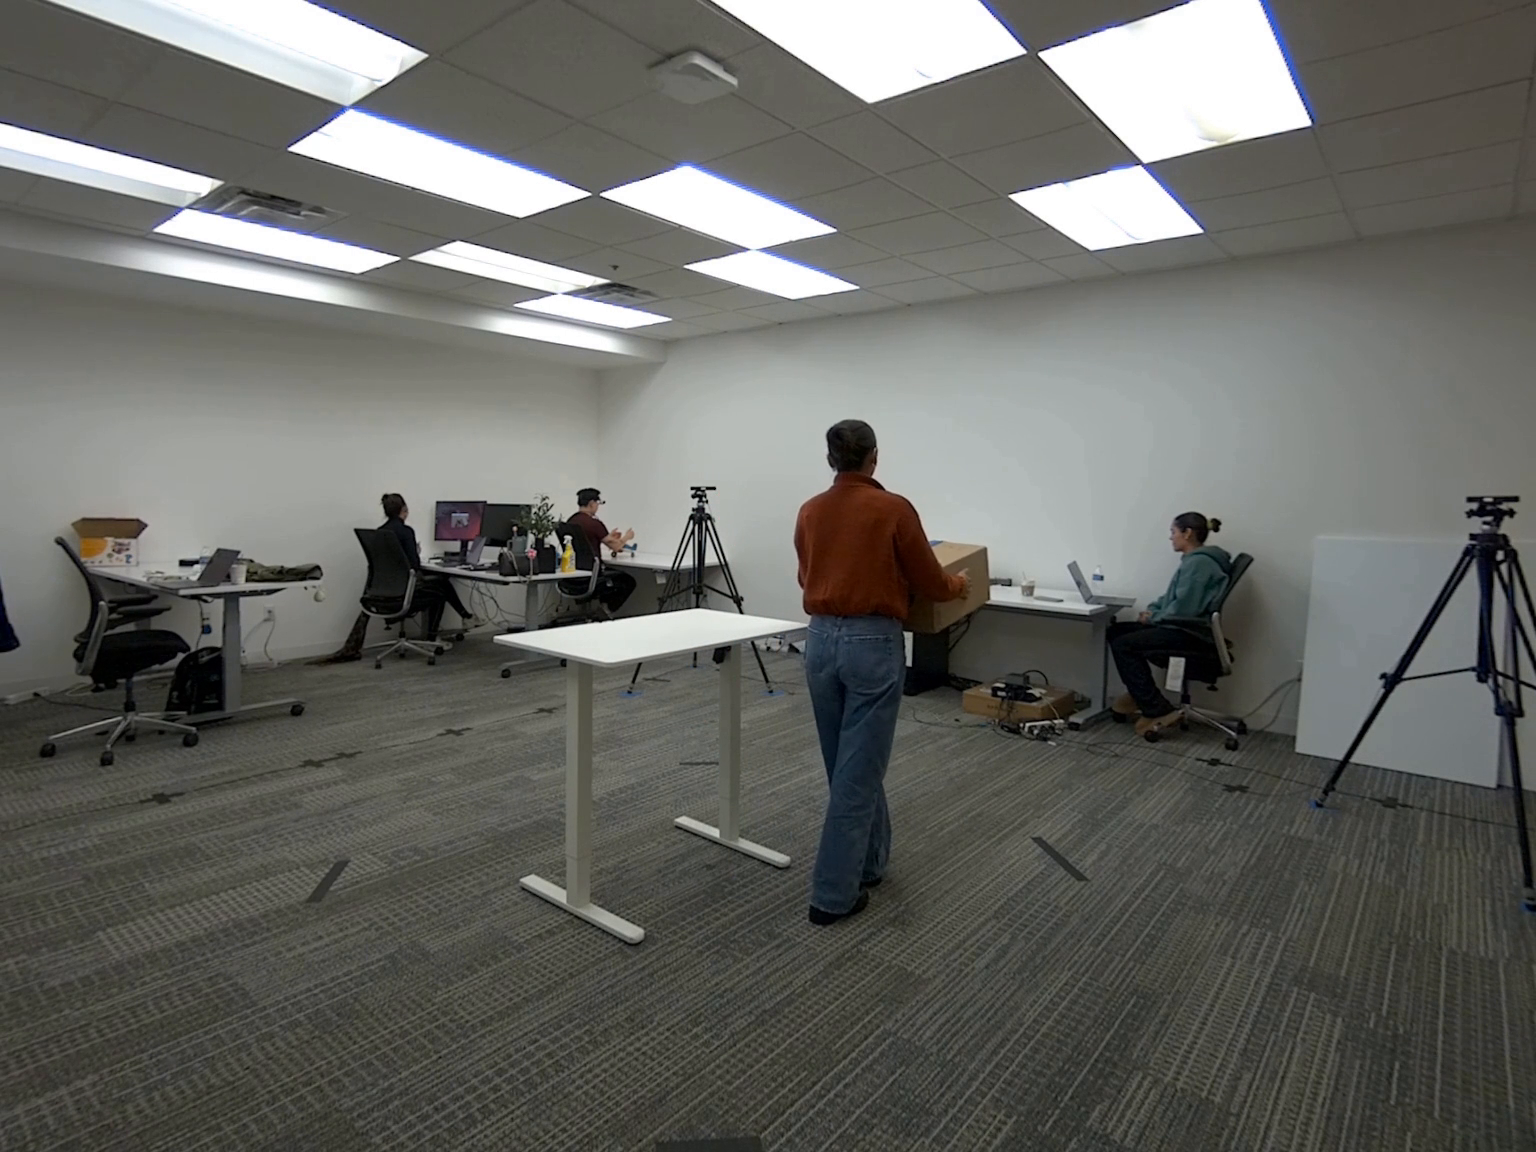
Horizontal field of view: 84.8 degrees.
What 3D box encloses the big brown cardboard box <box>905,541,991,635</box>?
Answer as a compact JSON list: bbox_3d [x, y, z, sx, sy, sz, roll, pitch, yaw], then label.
[{"bbox_3d":[0.522,0.027,3.216,0.430,0.231,0.576,0,10,33],"label":"big brown cardboard box"}]
